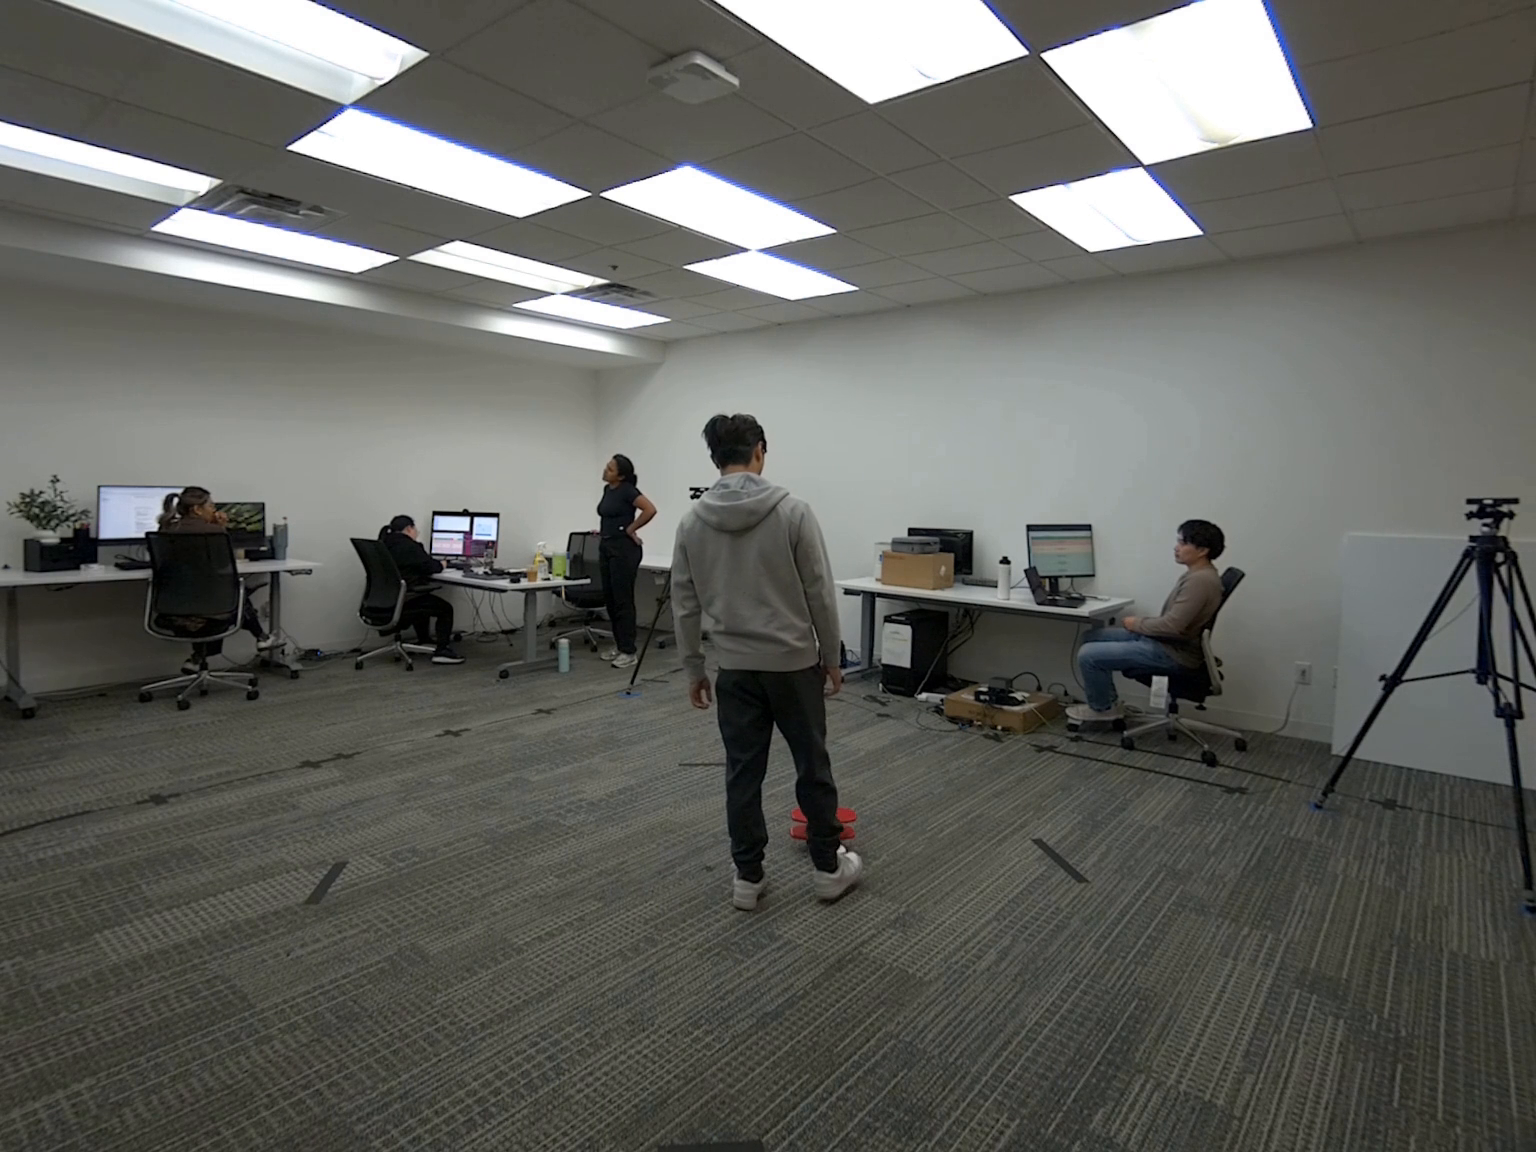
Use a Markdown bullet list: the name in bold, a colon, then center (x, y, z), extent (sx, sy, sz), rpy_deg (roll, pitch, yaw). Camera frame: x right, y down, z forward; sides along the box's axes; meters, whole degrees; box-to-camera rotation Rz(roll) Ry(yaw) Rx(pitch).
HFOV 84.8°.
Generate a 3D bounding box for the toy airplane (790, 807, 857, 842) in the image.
- **toy airplane**: center (0.227, 0.981, 3.264), extent (0.244, 0.156, 0.267), rpy_deg (-1, 5, -32)
